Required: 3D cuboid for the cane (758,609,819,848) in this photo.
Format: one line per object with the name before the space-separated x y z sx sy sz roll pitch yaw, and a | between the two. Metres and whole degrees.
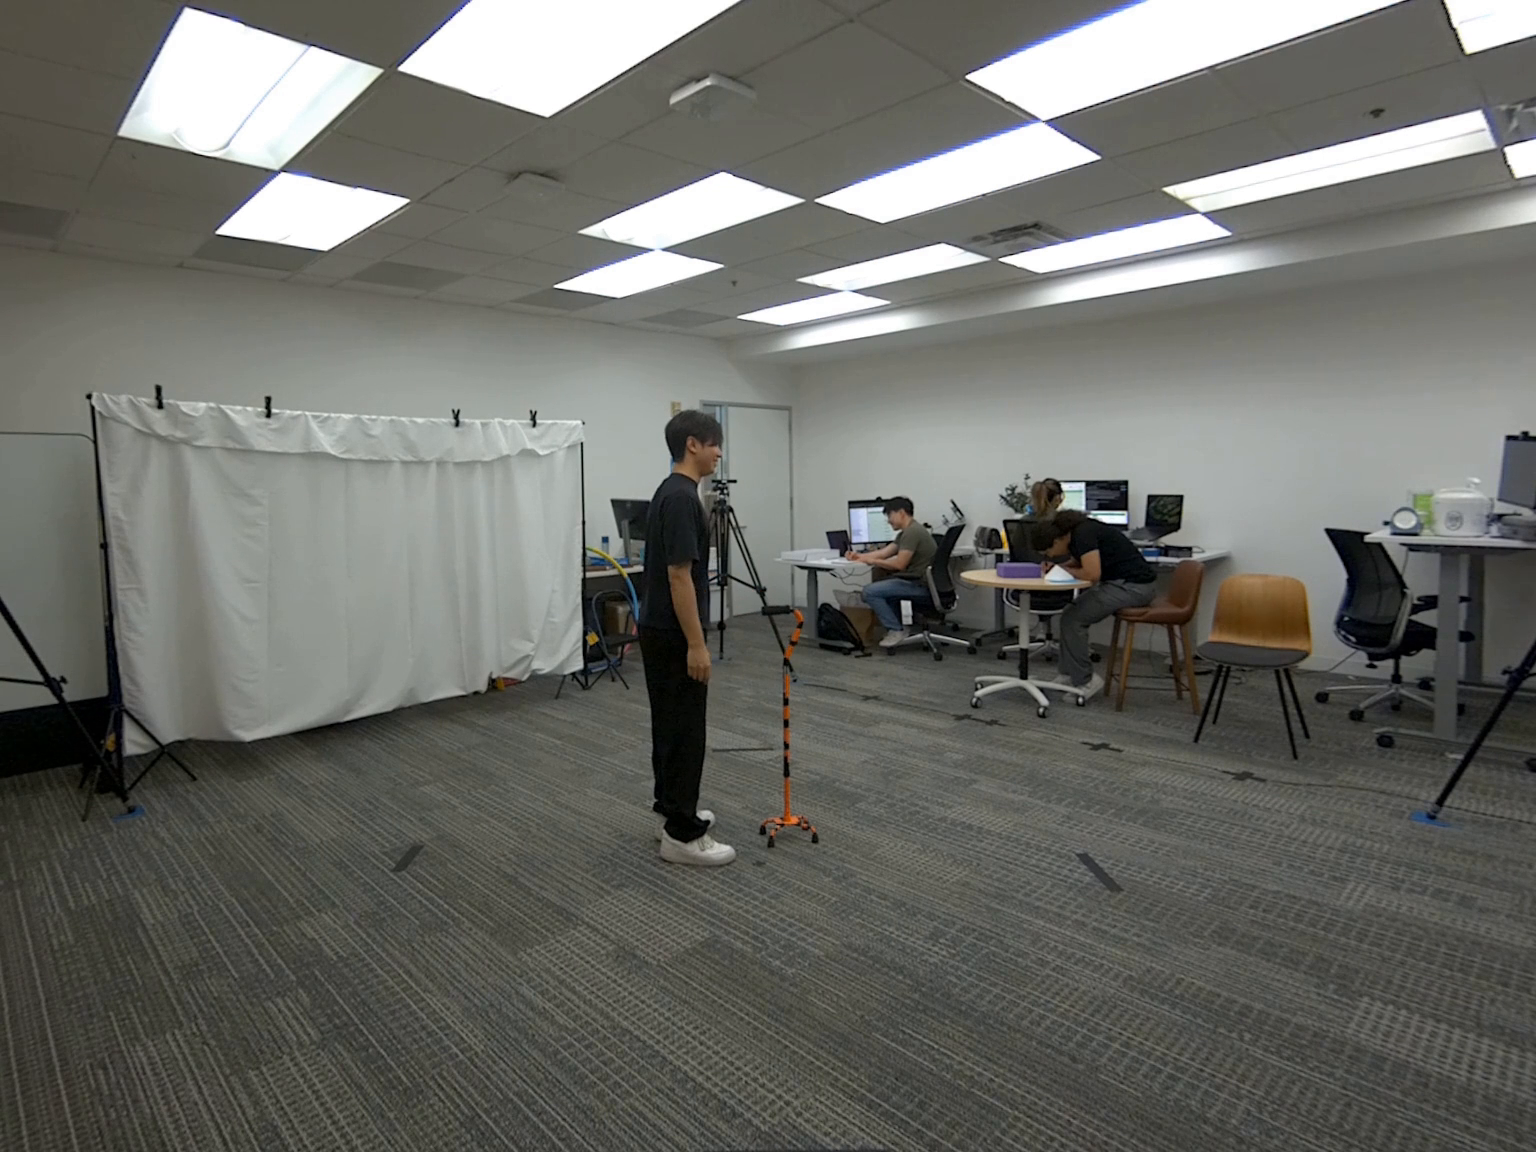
cane | 0.073 0.563 3.301 0.203 0.905 0.154 -2 4 -16
